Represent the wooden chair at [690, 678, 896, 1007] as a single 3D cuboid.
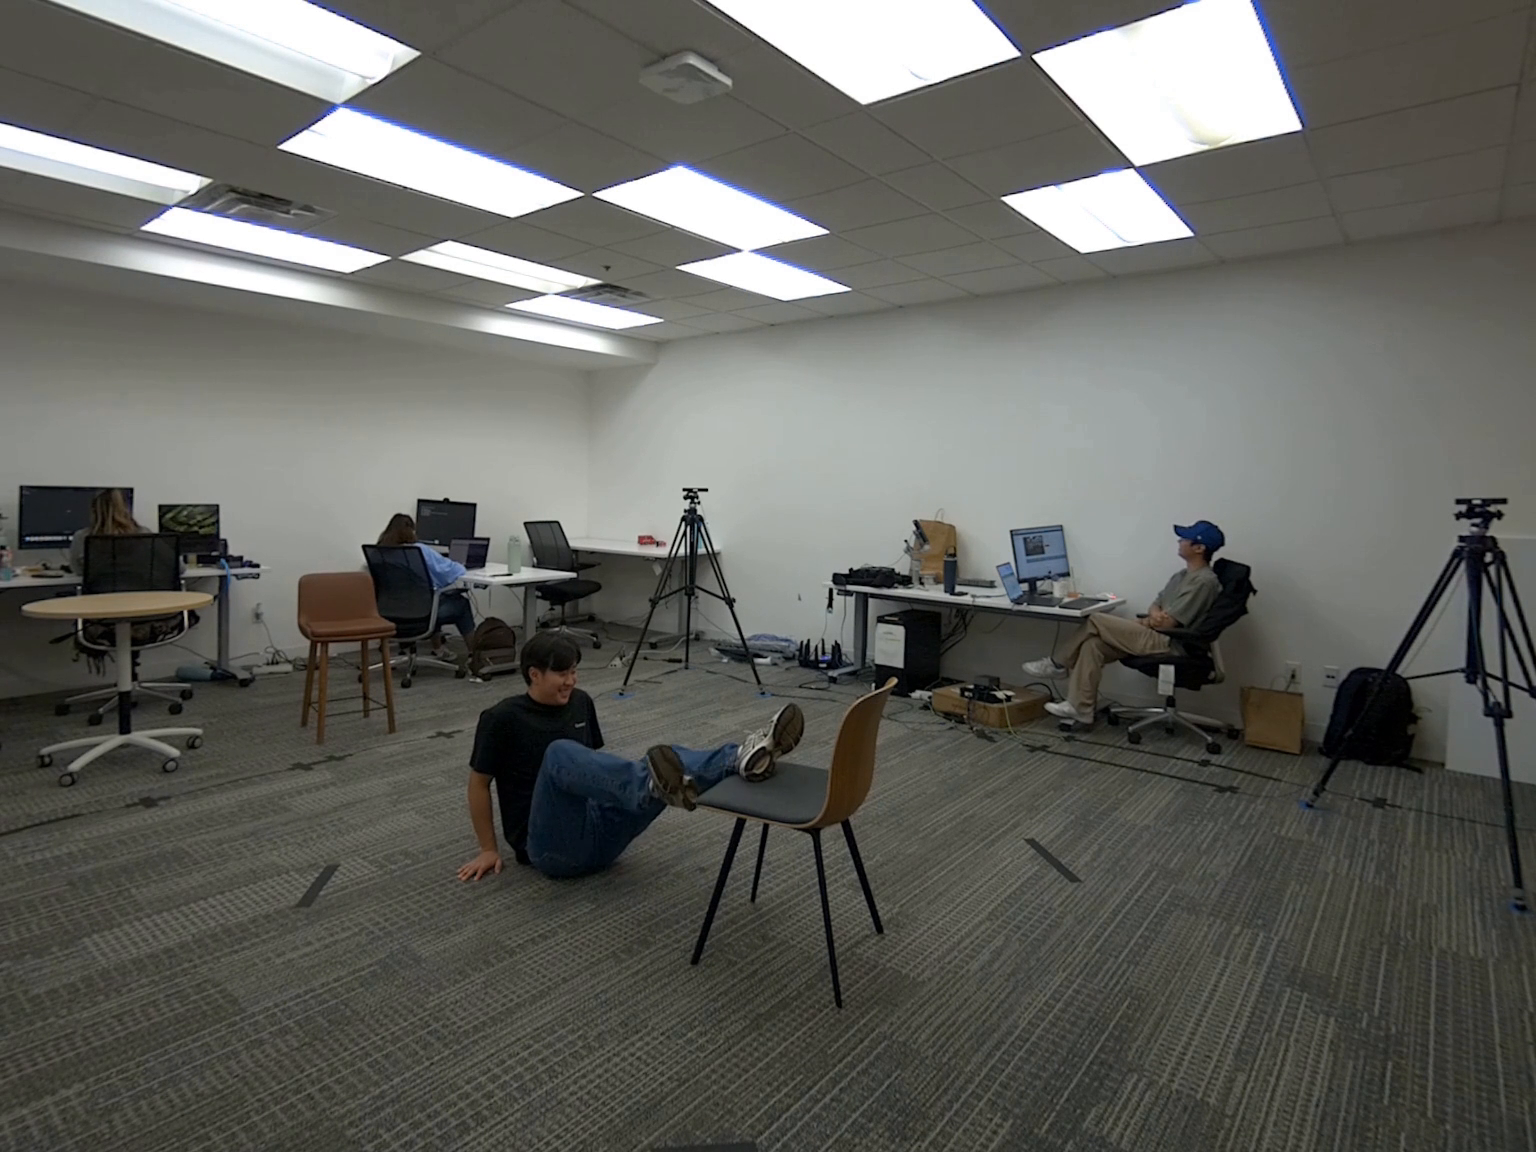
[{"bbox_3d":[0.069,0.702,2.560,0.537,0.874,0.467,7,5,24],"label":"wooden chair"}]
